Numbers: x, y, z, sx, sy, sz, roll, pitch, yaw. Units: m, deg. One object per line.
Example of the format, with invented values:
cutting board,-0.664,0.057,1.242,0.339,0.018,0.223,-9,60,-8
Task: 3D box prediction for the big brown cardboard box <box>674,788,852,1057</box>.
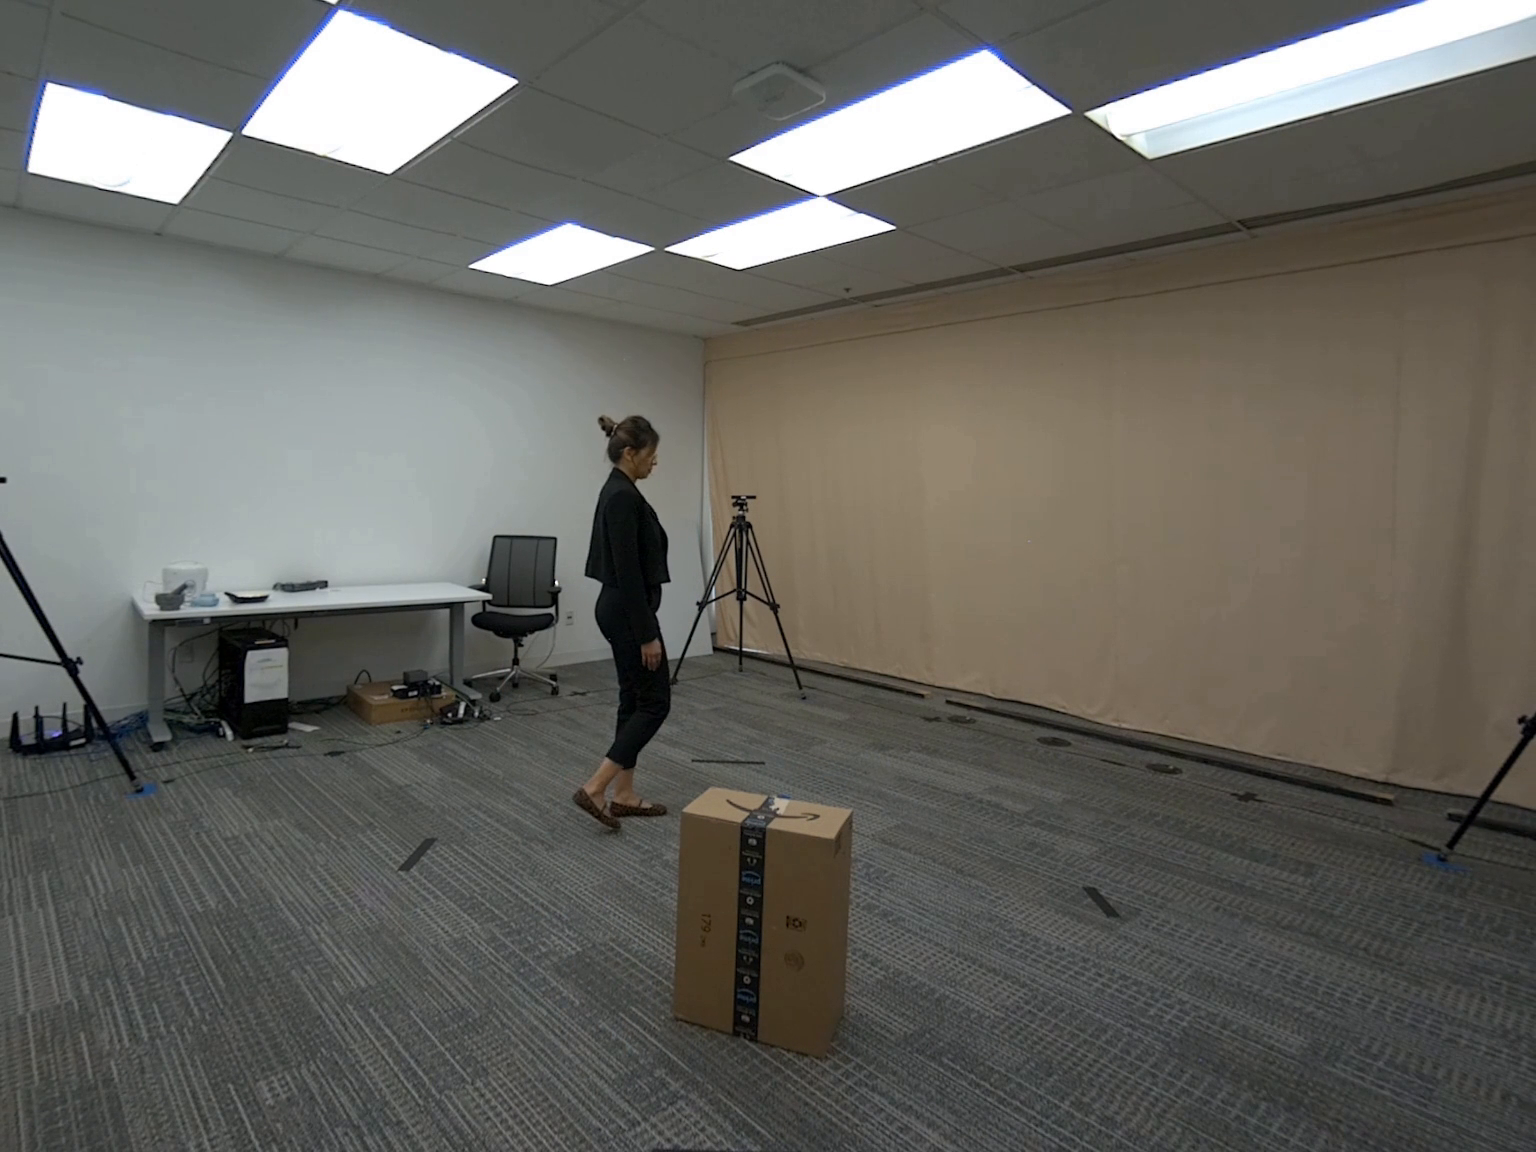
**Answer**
big brown cardboard box,-0.012,0.908,2.241,0.424,0.587,0.230,4,5,20
